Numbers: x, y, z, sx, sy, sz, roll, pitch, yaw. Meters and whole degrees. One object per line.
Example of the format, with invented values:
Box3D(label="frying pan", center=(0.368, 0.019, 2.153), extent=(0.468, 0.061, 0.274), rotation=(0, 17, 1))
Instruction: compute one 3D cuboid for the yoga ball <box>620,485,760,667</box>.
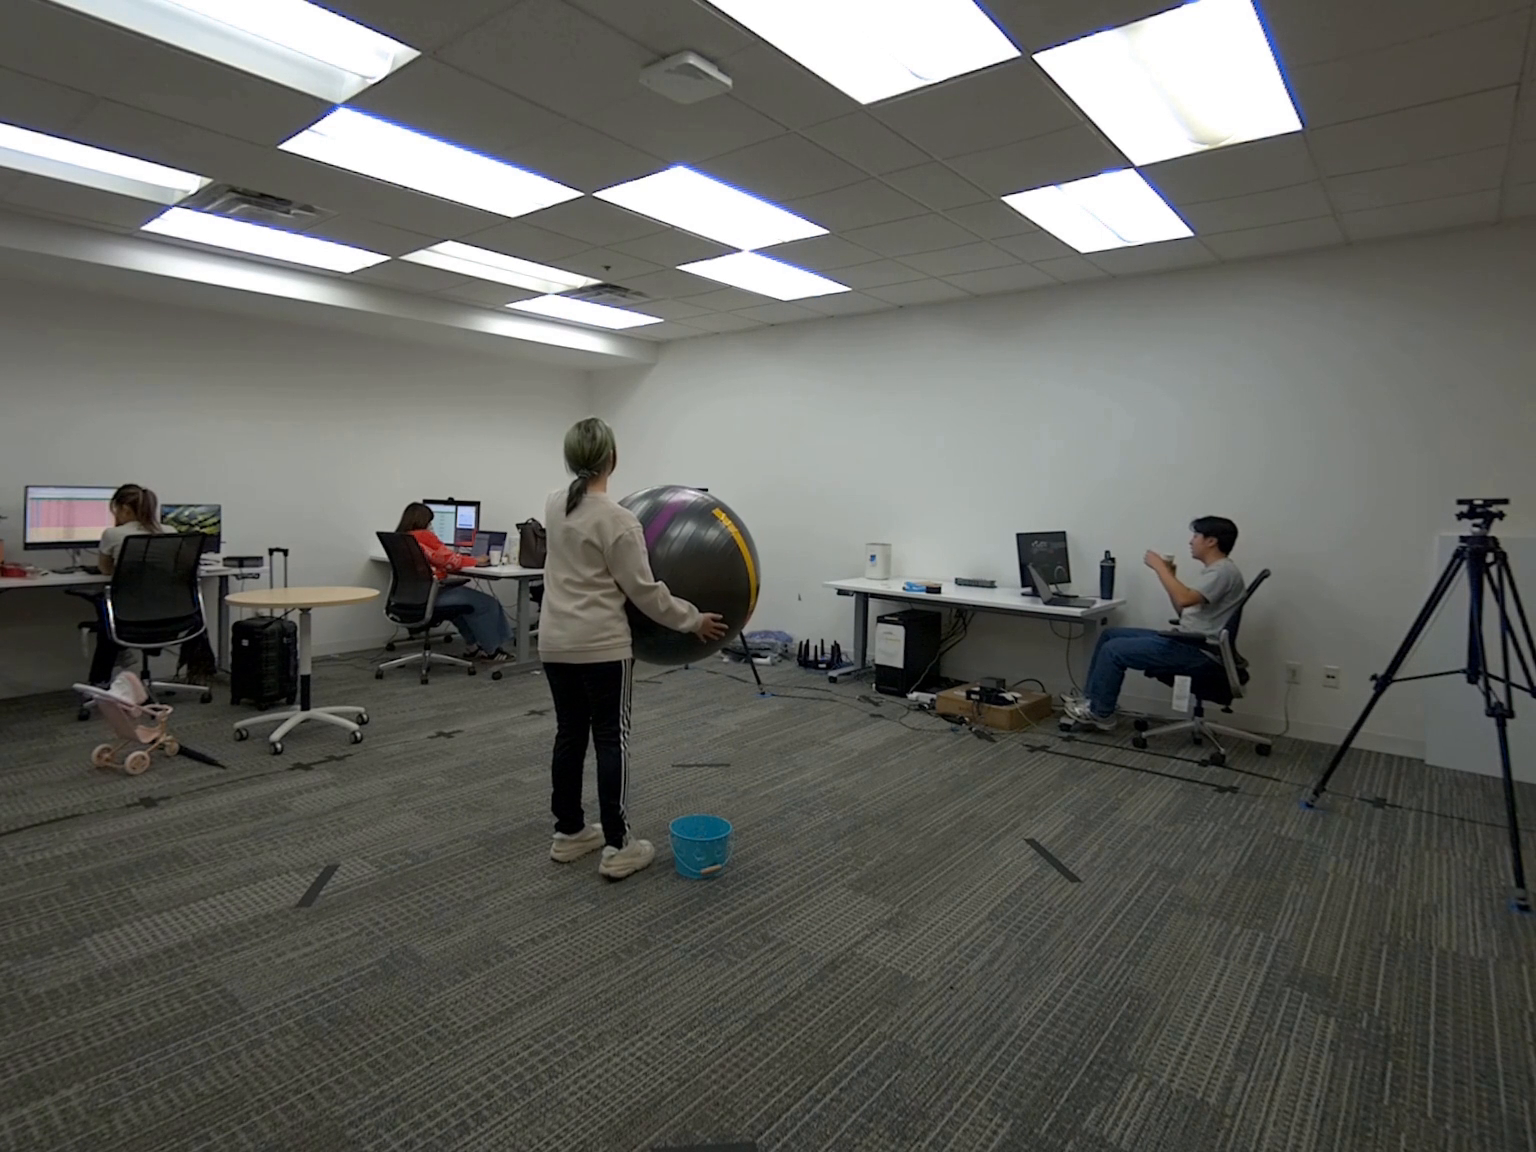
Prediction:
Box3D(label="yoga ball", center=(-0.416, -0.002, 3.599), extent=(0.757, 0.756, 0.762), rotation=(1, 4, -2))
